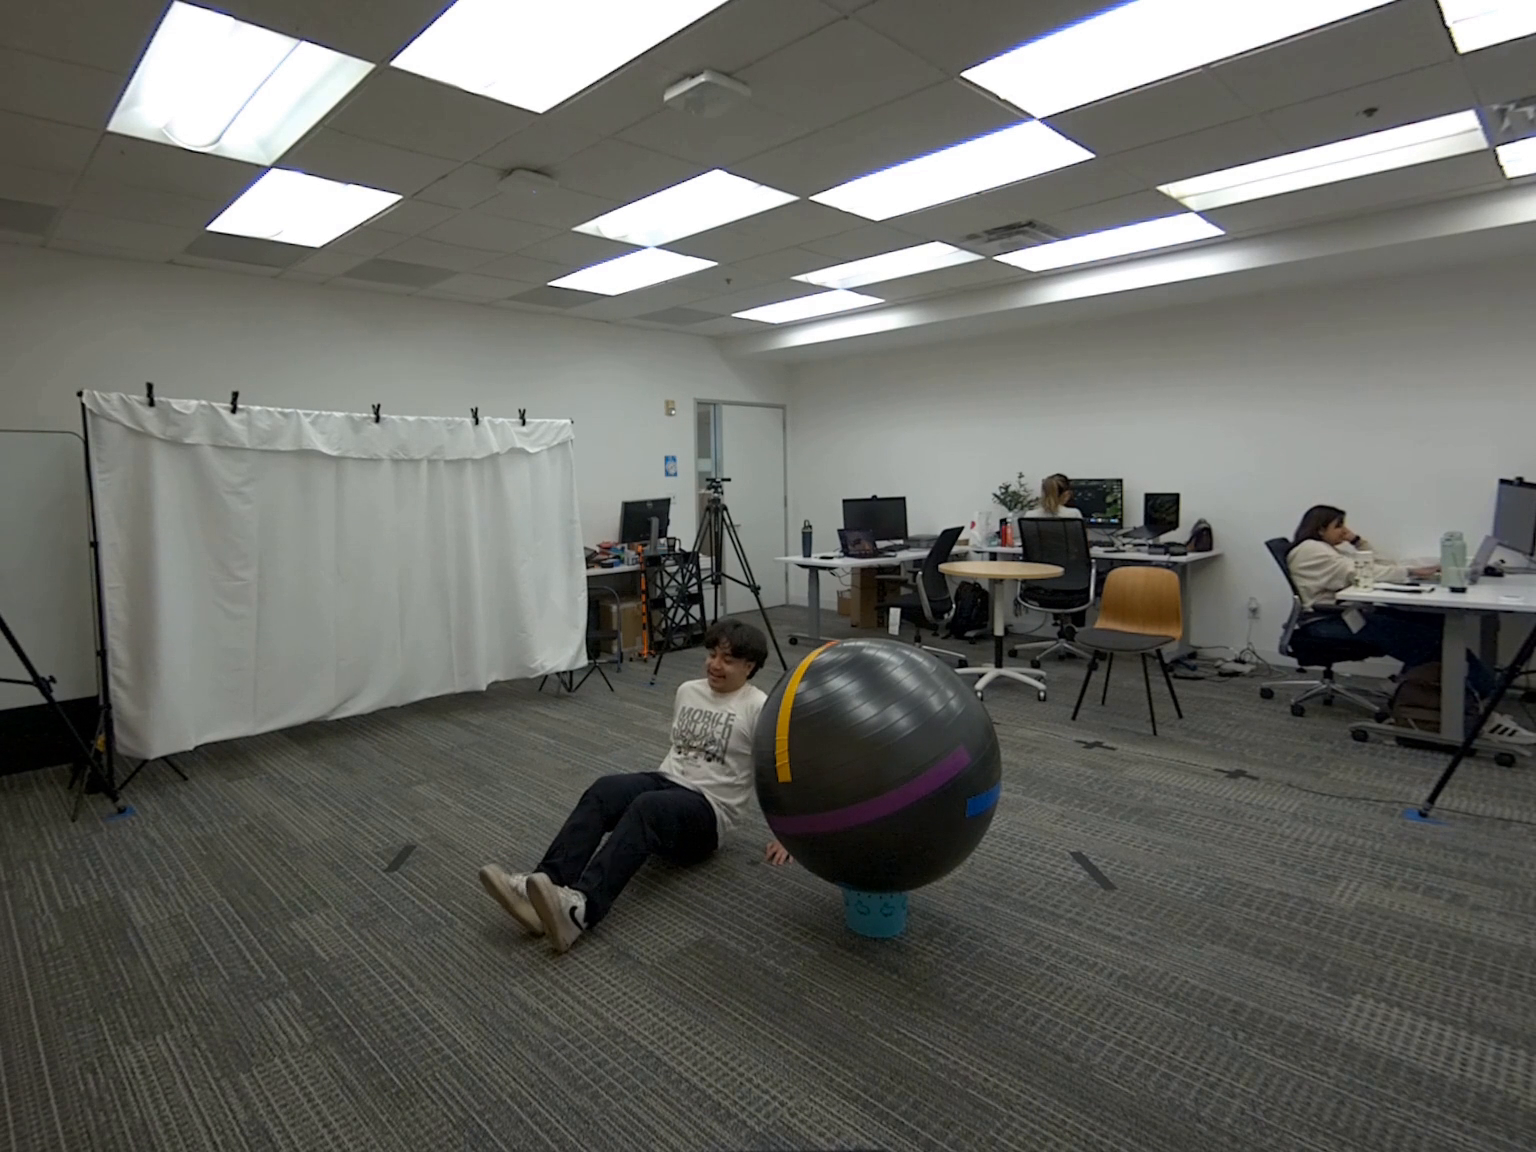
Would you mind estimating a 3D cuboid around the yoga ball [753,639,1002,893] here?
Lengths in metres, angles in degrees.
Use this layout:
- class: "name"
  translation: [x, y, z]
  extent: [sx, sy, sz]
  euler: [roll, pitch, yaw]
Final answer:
- class: "yoga ball"
  translation: [0.330, 0.577, 2.637]
  extent: [0.757, 0.755, 0.762]
  euler: [-1, 5, -2]
